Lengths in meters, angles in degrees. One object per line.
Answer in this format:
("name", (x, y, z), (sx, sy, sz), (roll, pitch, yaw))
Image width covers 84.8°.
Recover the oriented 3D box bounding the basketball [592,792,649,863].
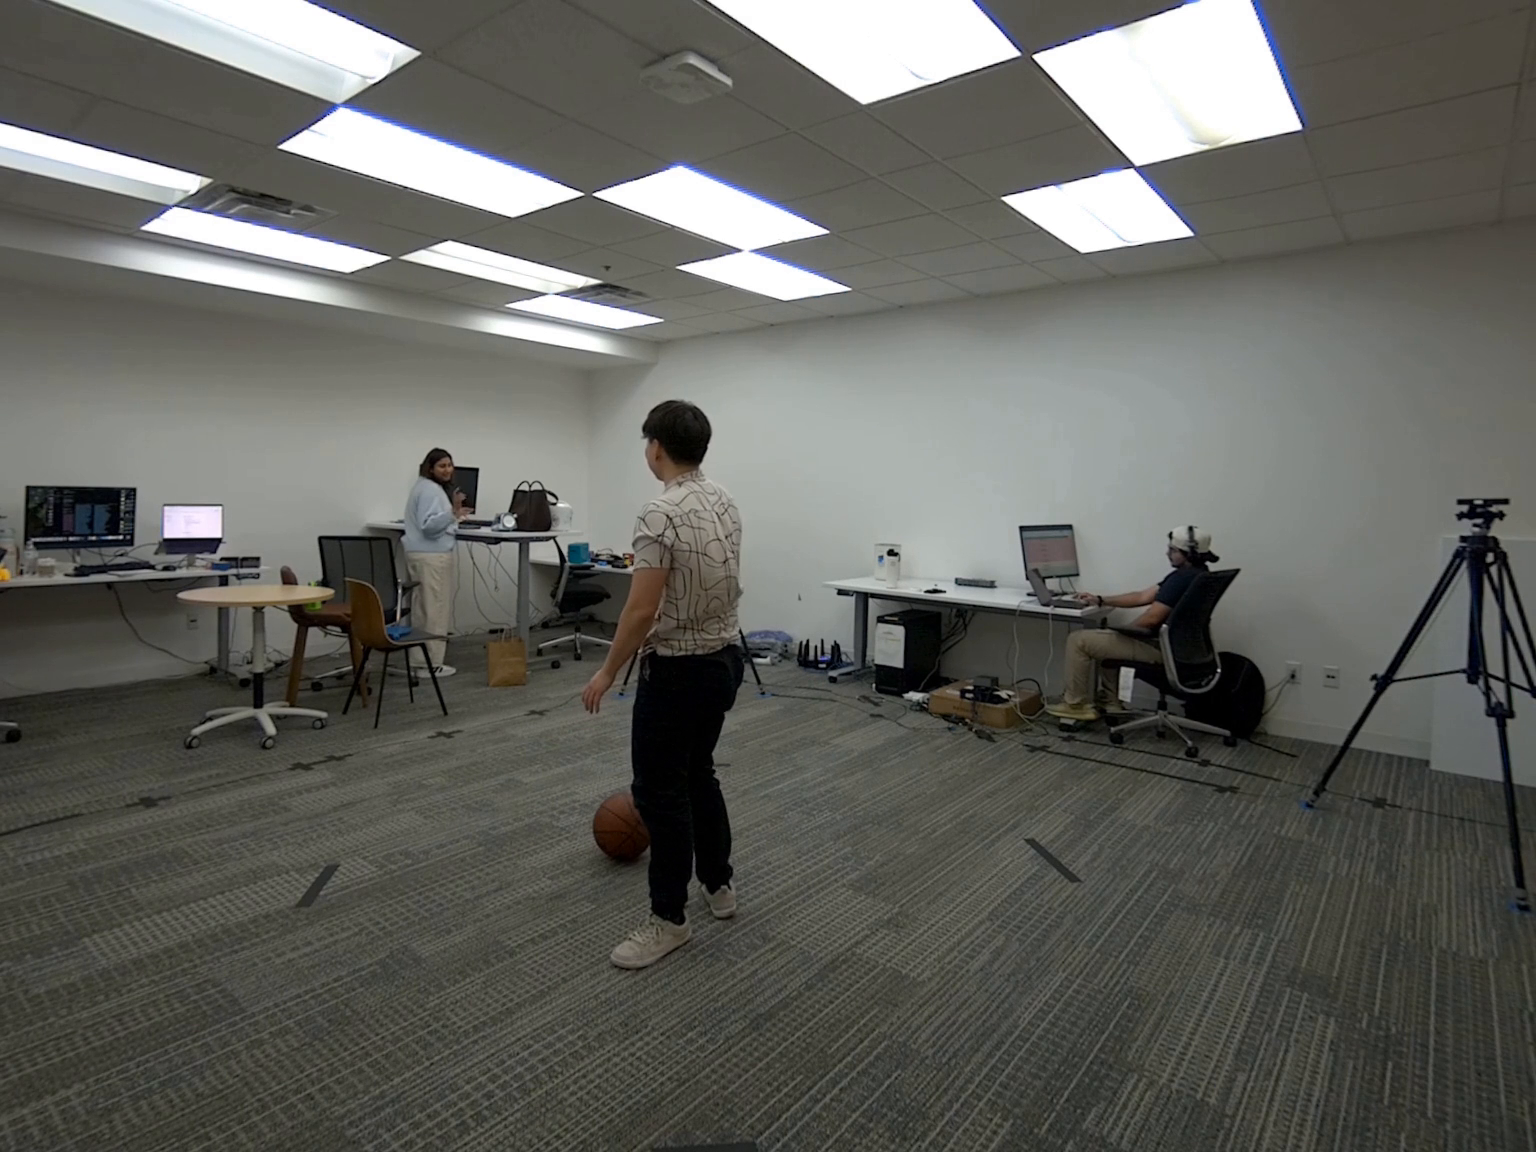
("basketball", (-0.555, 0.932, 3.196), (0.235, 0.235, 0.237), (1, 4, -2))
